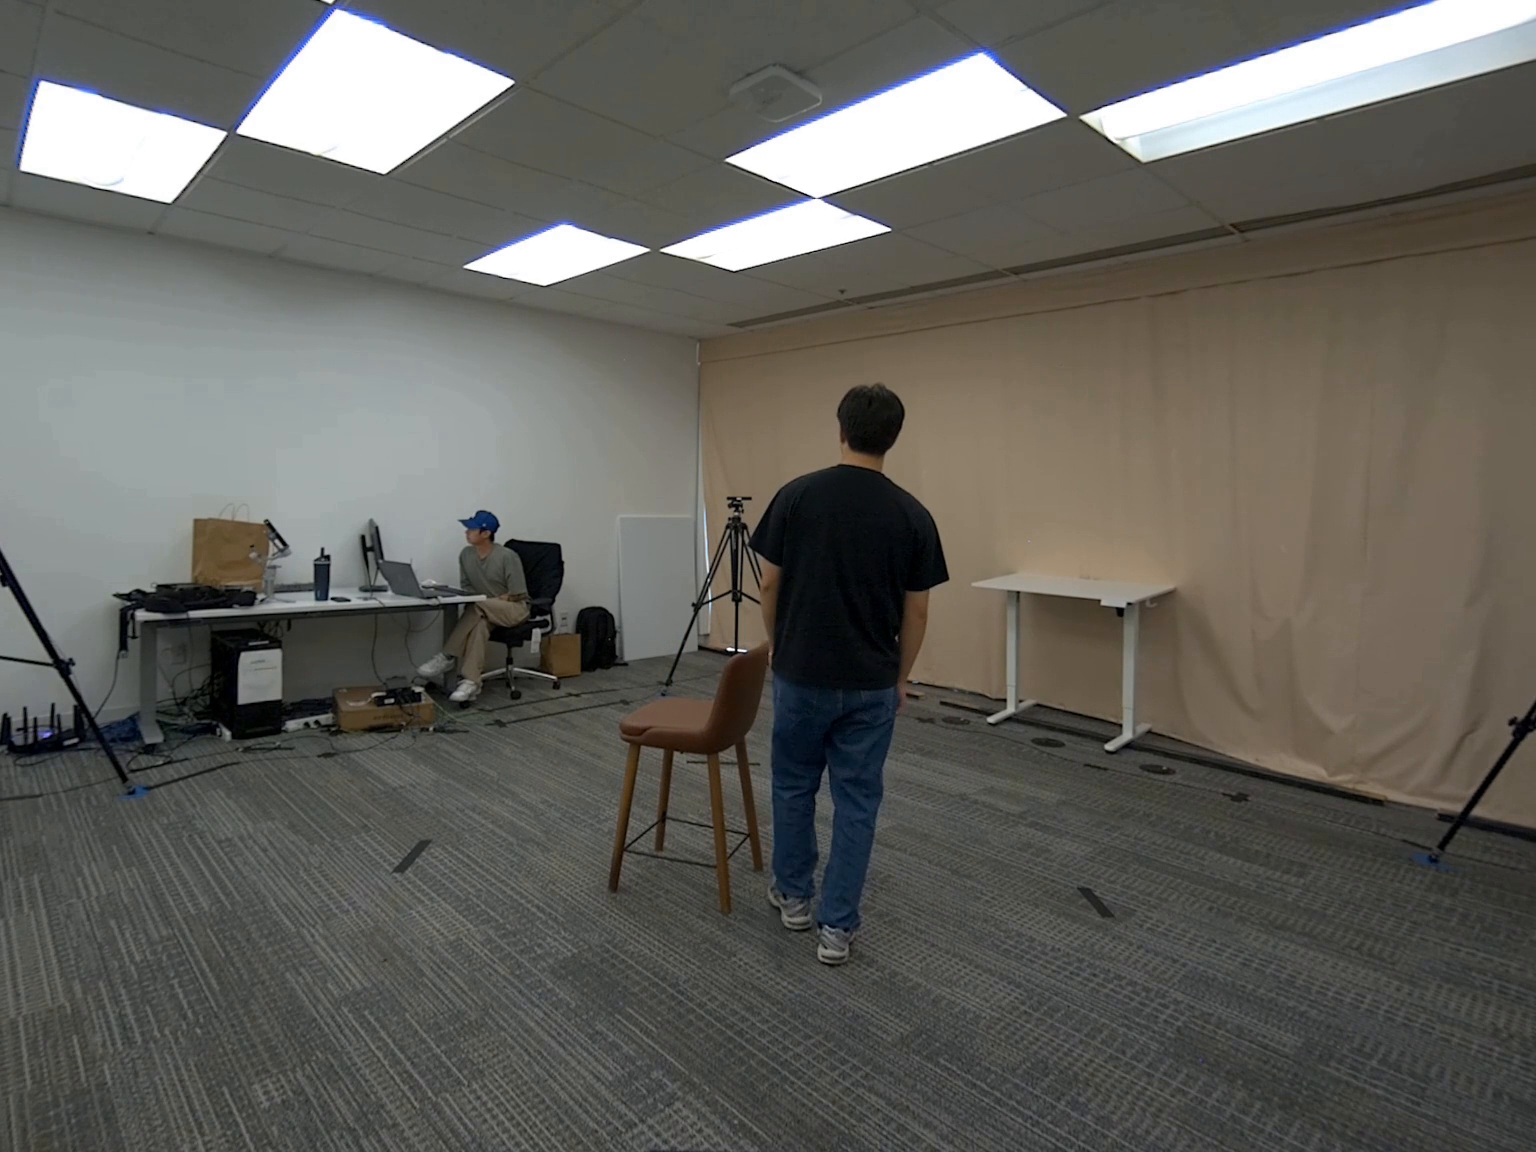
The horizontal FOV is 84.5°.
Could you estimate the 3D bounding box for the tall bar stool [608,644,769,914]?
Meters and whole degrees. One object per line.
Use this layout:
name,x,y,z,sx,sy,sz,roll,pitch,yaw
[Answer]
tall bar stool,-0.272,0.675,3.041,0.476,0.887,0.450,4,5,21
